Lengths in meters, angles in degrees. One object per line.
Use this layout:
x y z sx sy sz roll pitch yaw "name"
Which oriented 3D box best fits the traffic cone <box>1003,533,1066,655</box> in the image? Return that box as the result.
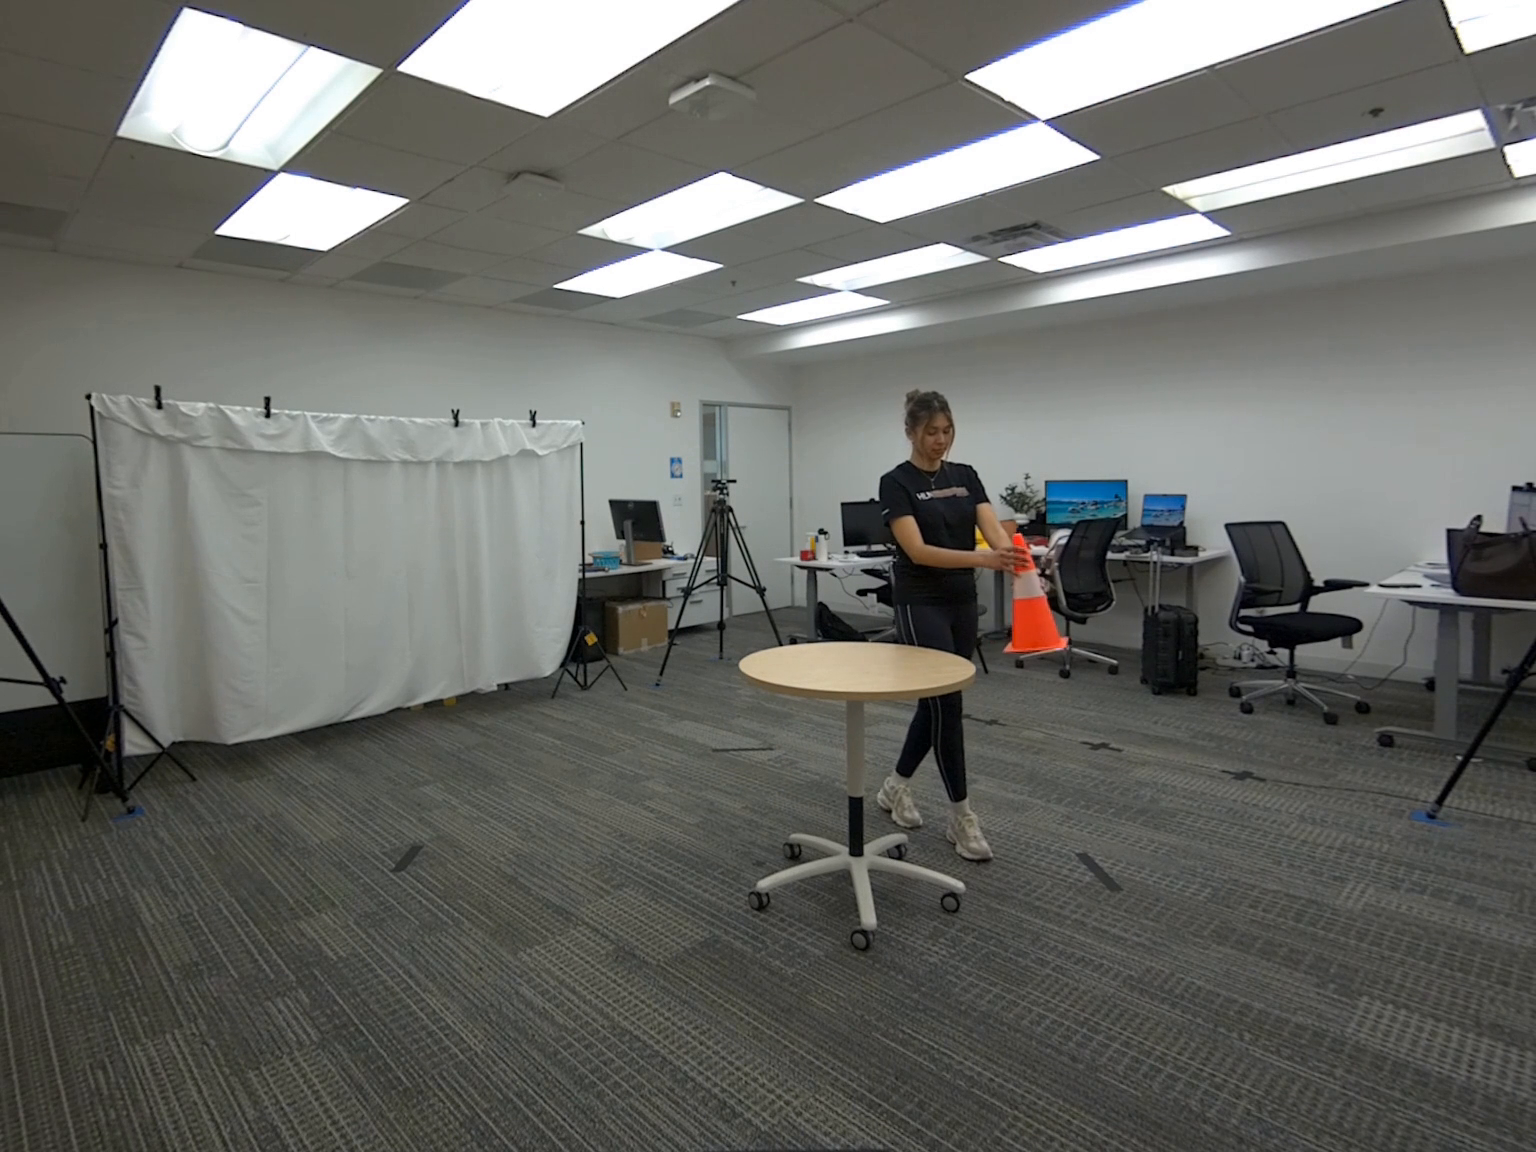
0.887 0.049 2.900 0.208 0.383 0.201 -7 2 29 "traffic cone"
